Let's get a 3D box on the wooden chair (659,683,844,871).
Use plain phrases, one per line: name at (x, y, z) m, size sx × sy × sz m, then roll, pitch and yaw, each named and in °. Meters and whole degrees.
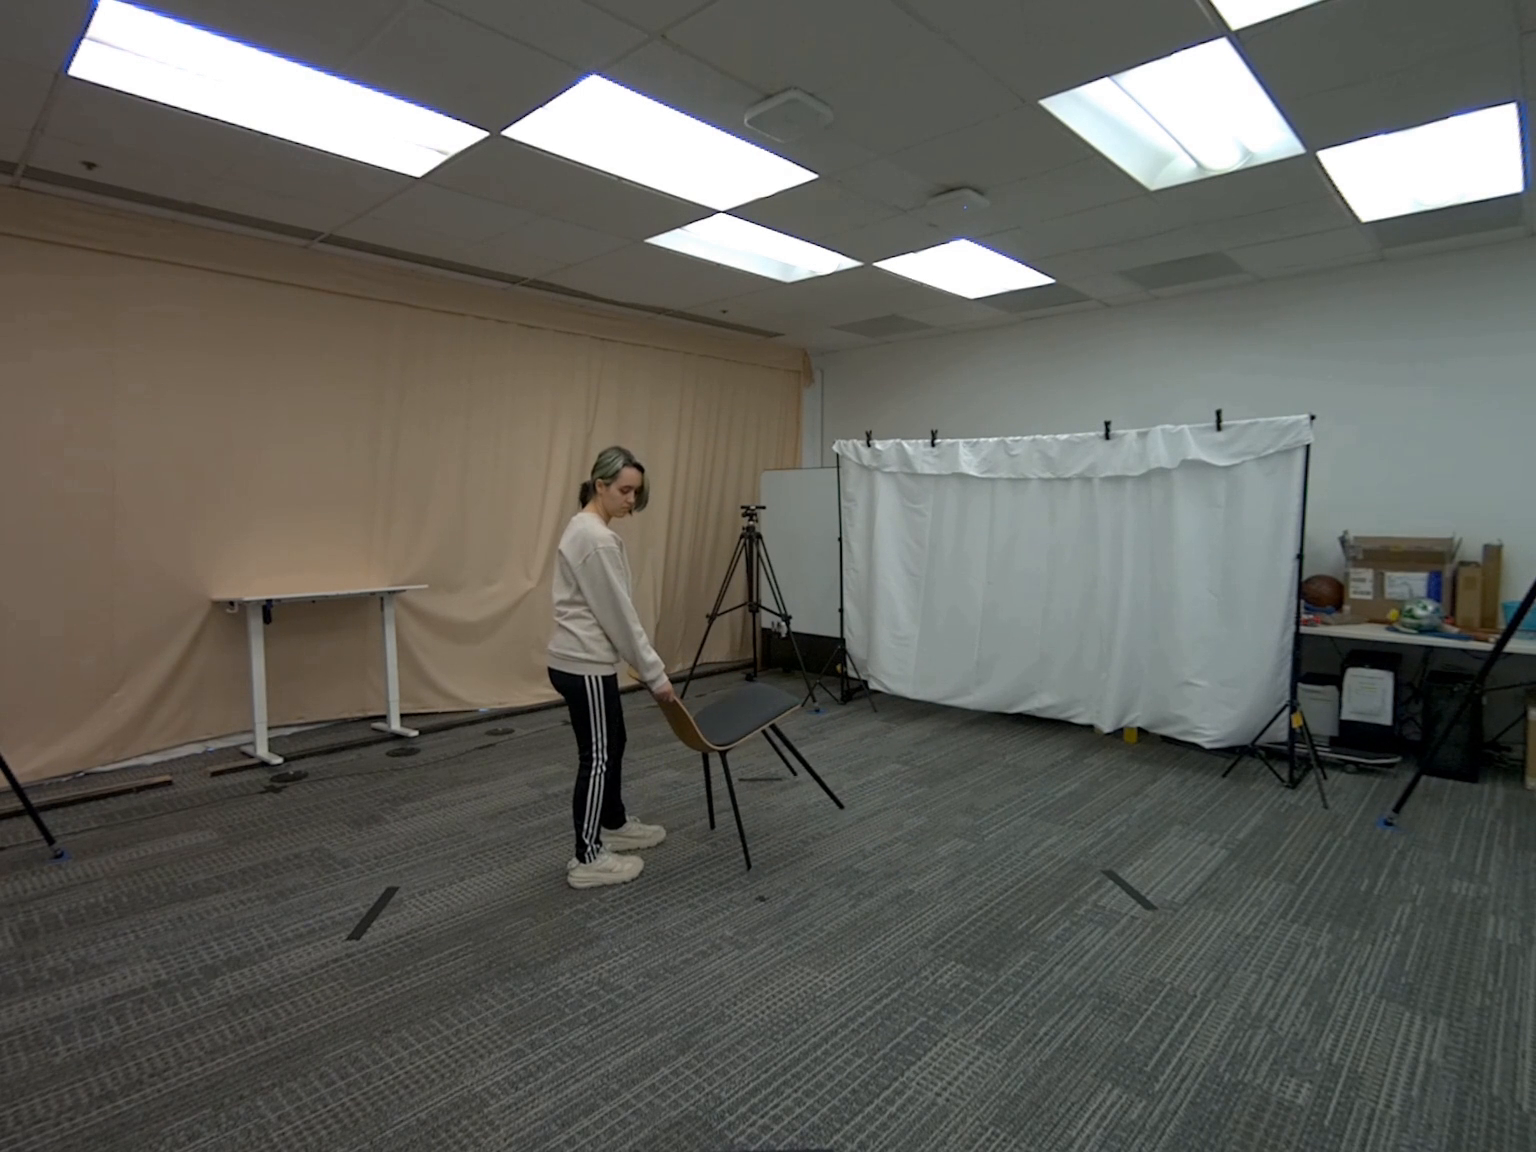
wooden chair at (-0.132, 0.625, 3.404) m, size 0.518 × 0.866 × 0.489 m, roll -32°, pitch 13°, yaw -17°
